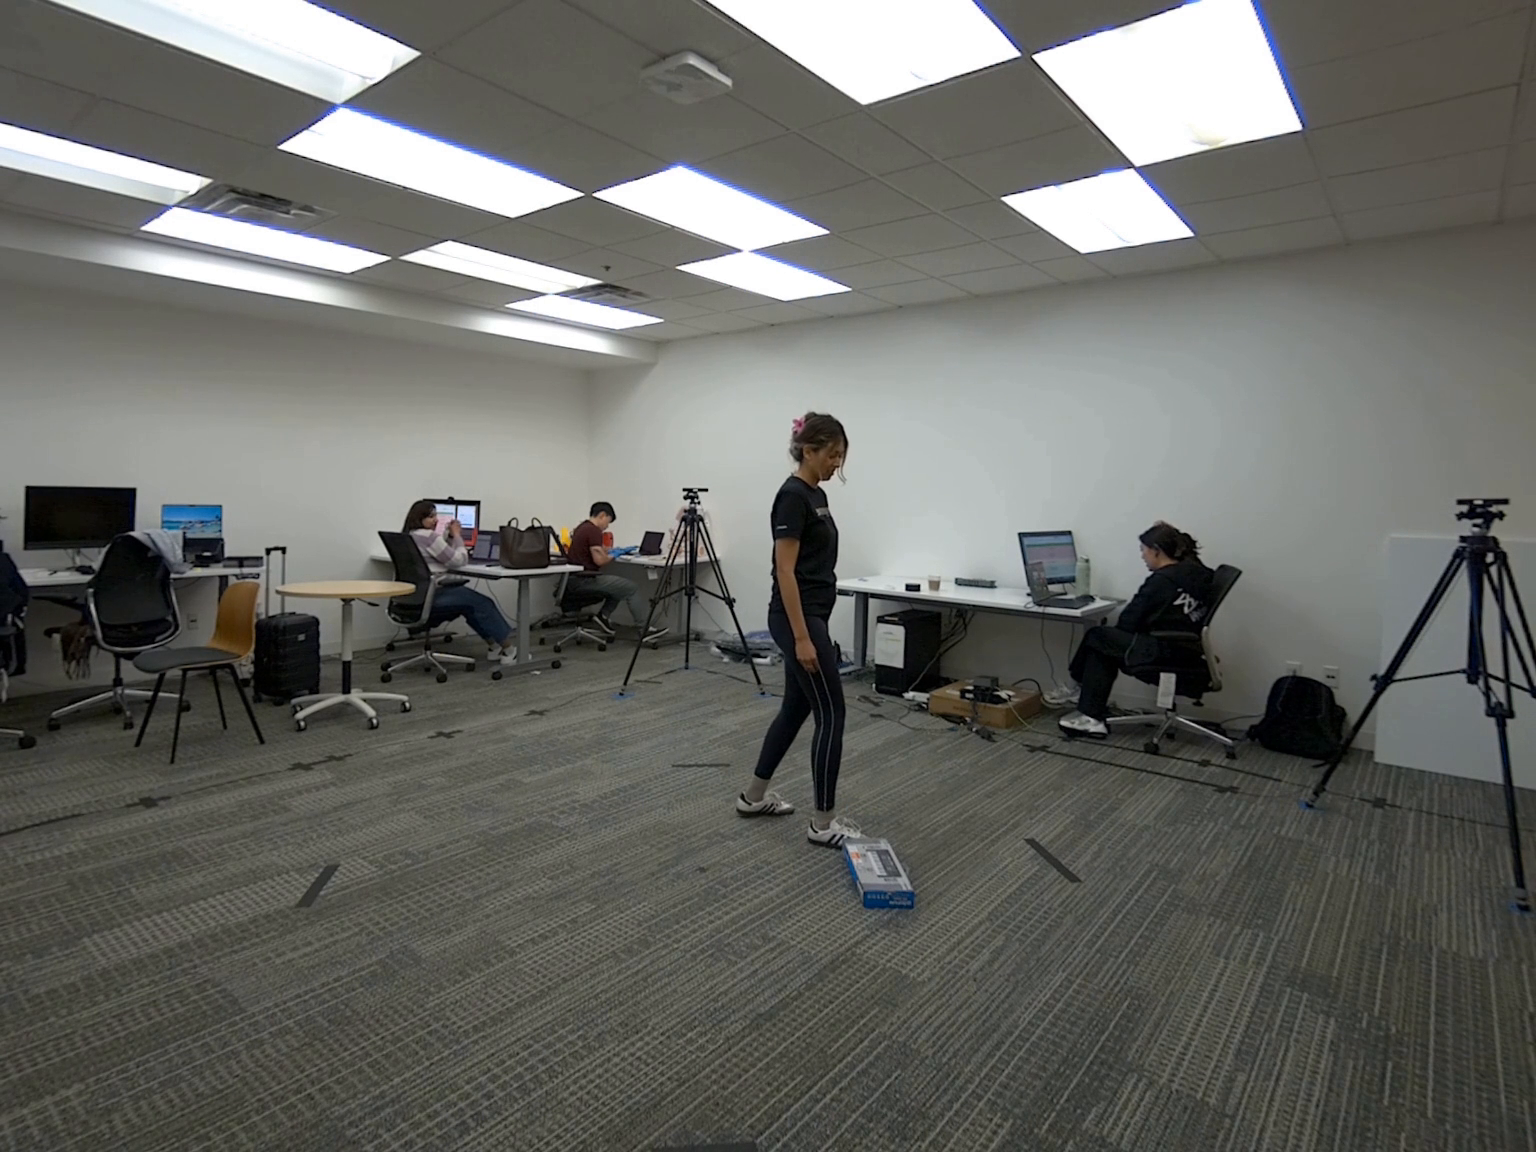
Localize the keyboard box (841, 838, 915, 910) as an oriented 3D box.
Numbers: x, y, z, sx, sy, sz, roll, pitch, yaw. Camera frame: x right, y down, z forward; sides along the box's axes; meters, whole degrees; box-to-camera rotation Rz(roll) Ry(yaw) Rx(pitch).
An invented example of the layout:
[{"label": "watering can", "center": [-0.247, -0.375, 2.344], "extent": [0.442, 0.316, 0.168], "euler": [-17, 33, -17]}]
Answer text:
[{"label": "keyboard box", "center": [0.381, 1.058, 3.064], "extent": [0.175, 0.059, 0.440], "euler": [0, 6, -4]}]
